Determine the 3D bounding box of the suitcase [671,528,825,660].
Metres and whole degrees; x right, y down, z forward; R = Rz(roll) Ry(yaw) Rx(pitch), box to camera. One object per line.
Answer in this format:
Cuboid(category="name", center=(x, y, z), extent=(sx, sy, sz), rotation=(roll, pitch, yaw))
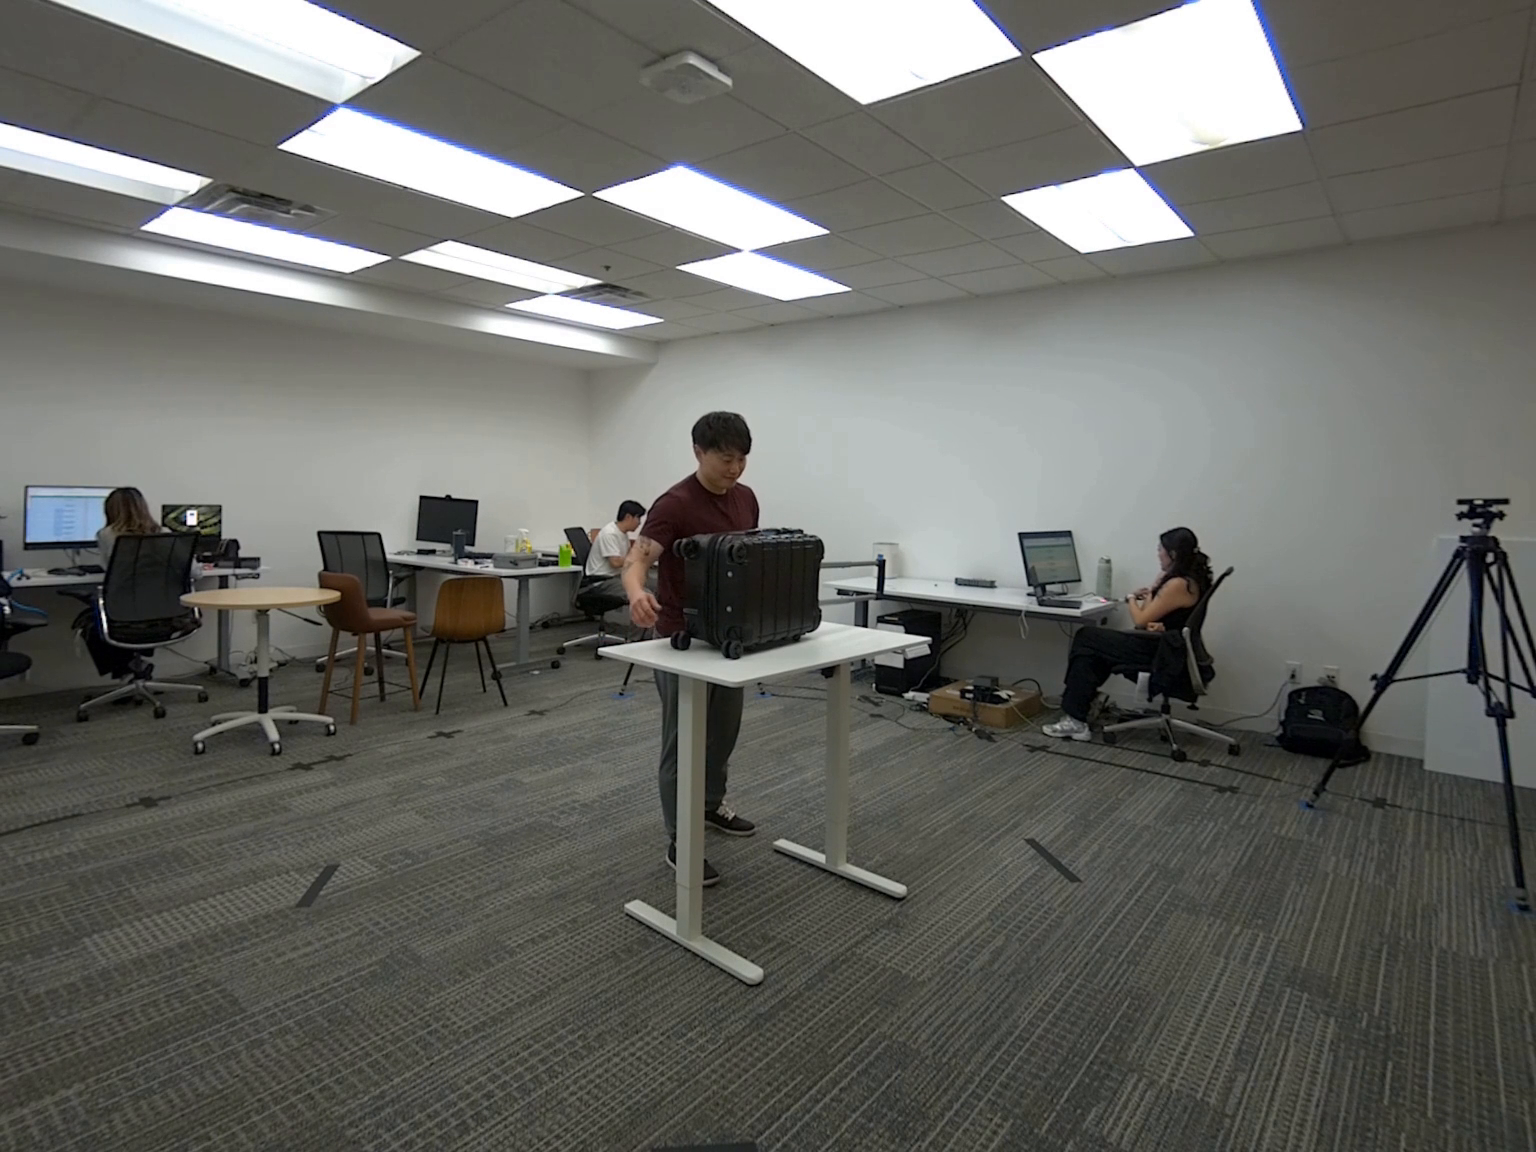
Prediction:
Cuboid(category="suitcase", center=(0.075, 0.023, 2.957), extent=(0.265, 0.383, 0.951), rotation=(3, 5, 37))
